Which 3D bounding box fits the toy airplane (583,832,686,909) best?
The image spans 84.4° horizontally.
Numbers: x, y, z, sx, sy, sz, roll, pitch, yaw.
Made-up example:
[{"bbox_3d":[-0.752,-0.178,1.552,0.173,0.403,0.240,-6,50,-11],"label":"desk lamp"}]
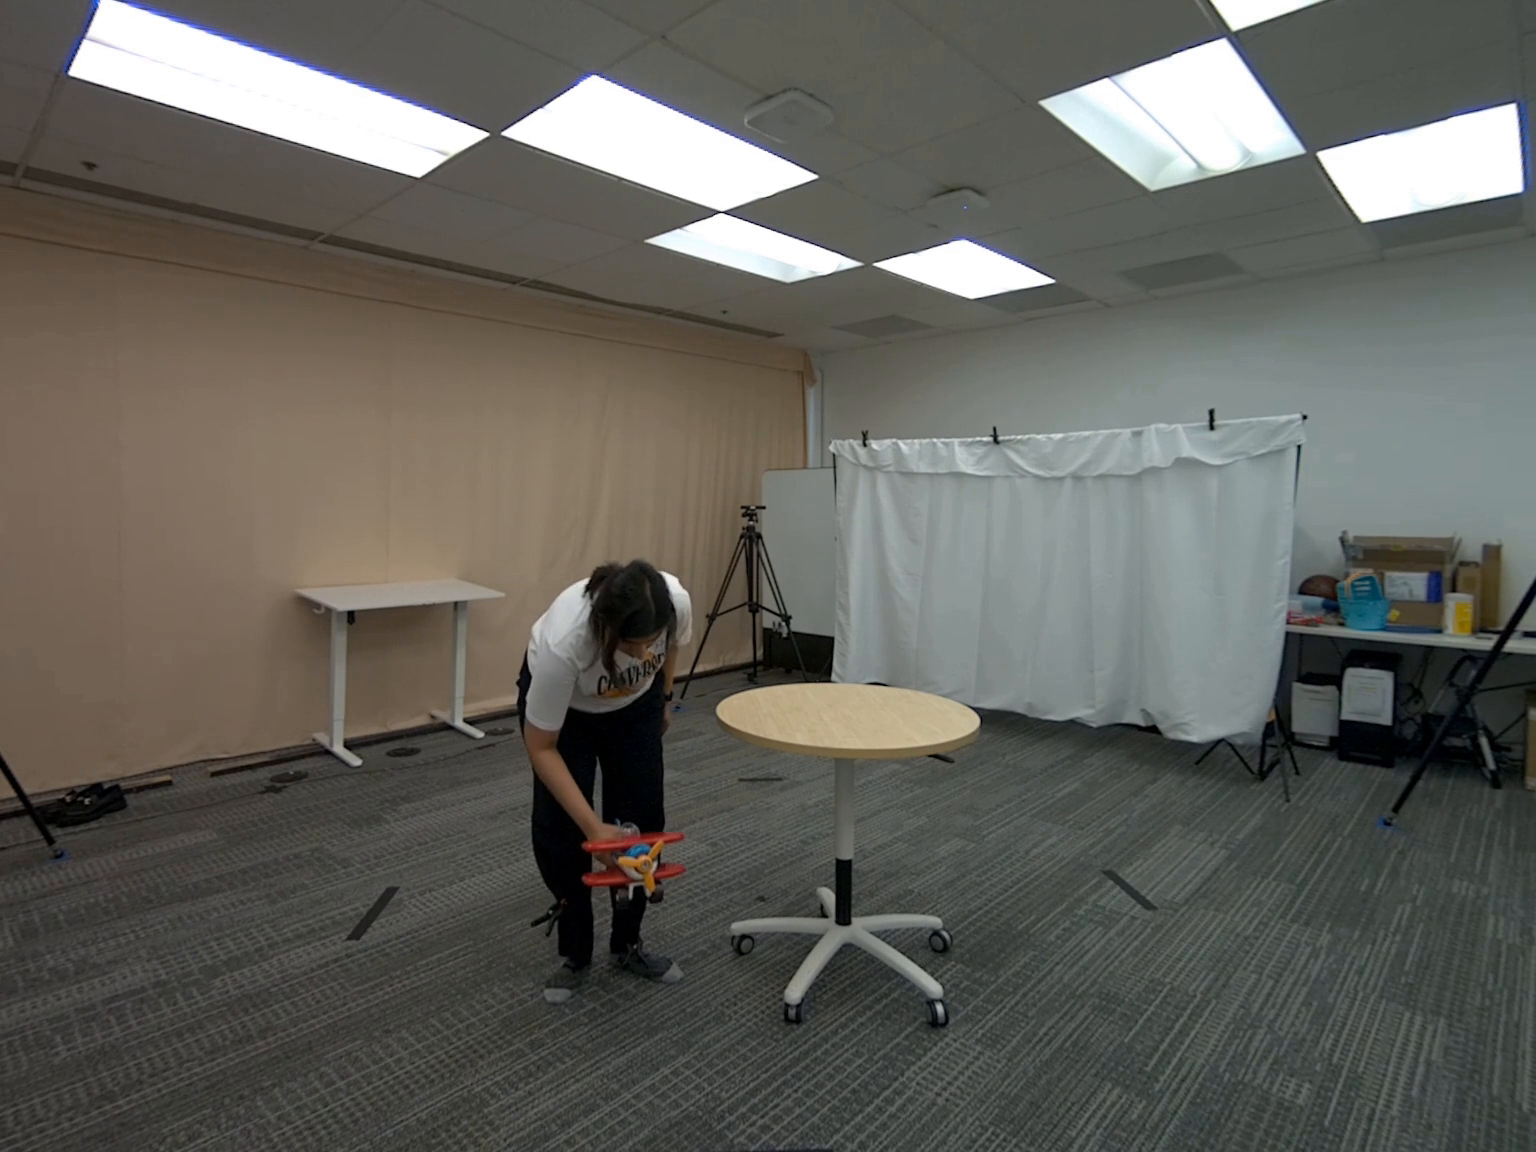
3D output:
[{"bbox_3d":[-0.356,0.708,2.098,0.268,0.155,0.244,10,12,39],"label":"toy airplane"}]
